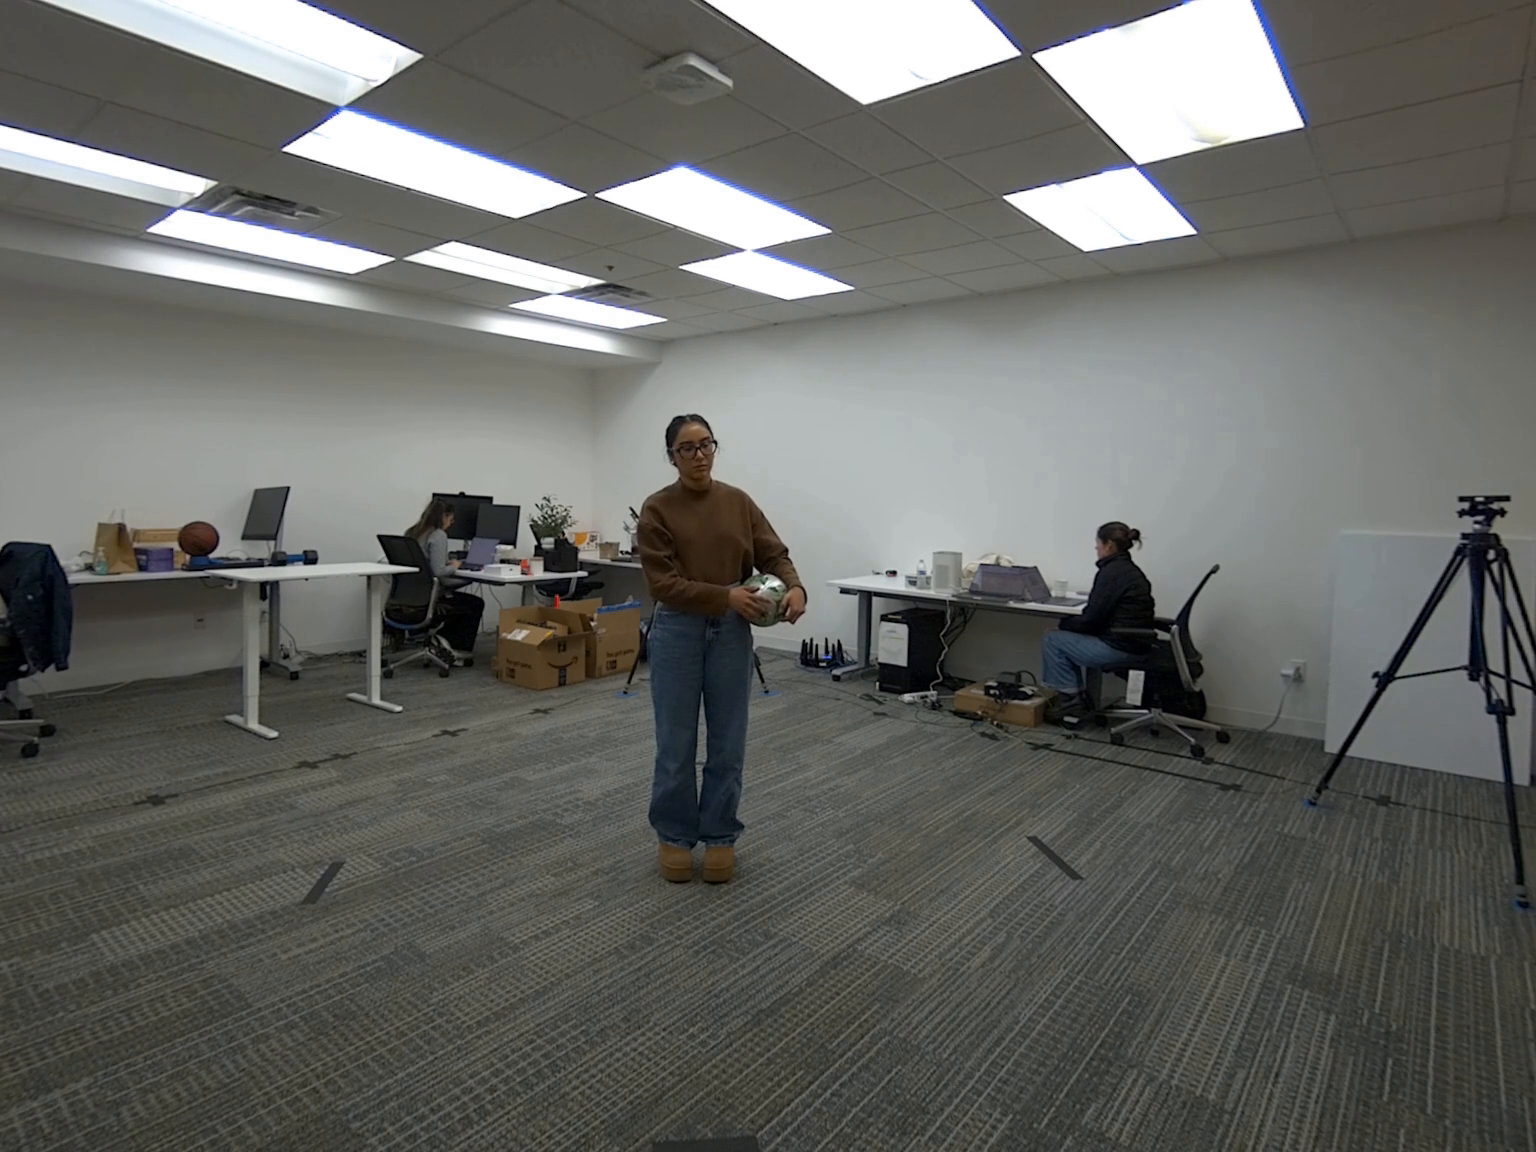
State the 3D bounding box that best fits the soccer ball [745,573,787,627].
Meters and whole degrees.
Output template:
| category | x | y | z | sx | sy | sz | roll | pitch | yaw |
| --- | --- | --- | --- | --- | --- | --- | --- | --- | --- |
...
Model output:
| category | x | y | z | sx | sy | sz | roll | pitch | yaw |
| --- | --- | --- | --- | --- | --- | --- | --- | --- | --- |
| soccer ball | -0.019 | 0.083 | 2.978 | 0.187 | 0.187 | 0.188 | 1 | 4 | -2 |
